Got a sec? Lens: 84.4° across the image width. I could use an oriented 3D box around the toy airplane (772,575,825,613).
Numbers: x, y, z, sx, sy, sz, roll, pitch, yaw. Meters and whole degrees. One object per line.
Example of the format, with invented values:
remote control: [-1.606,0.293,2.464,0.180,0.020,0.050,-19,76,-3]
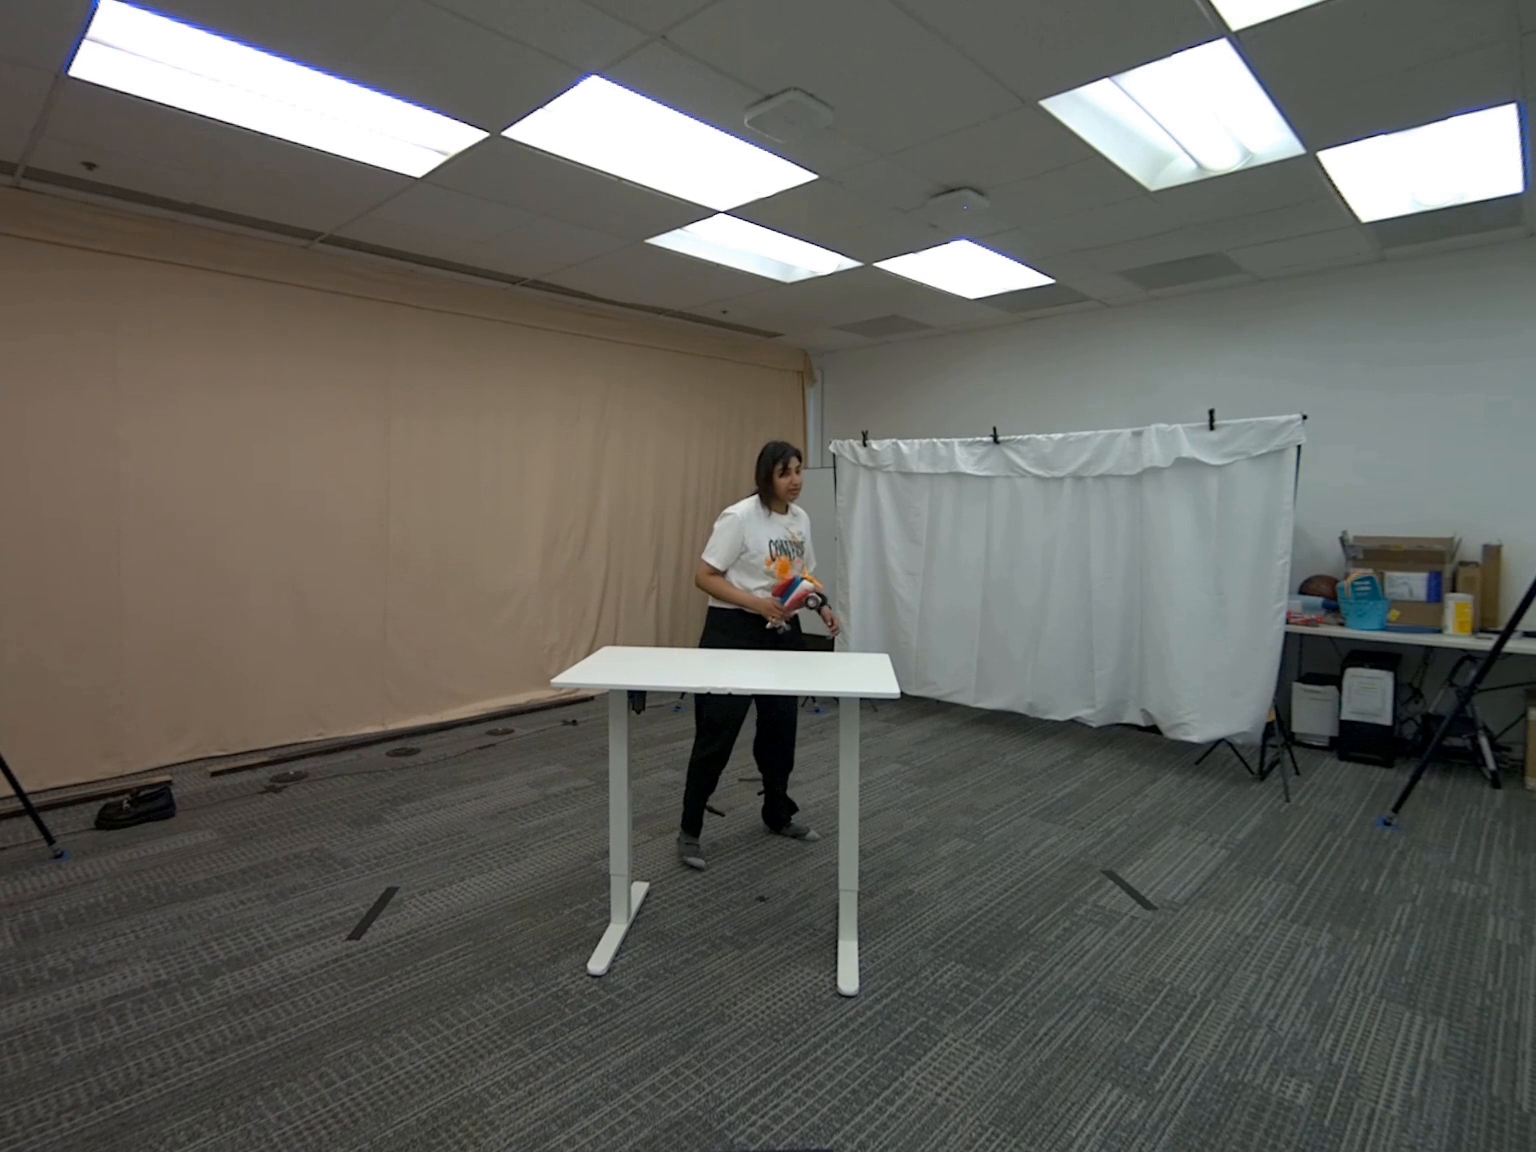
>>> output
toy airplane: [0.087,0.101,3.210,0.259,0.158,0.248,-33,-10,-4]
